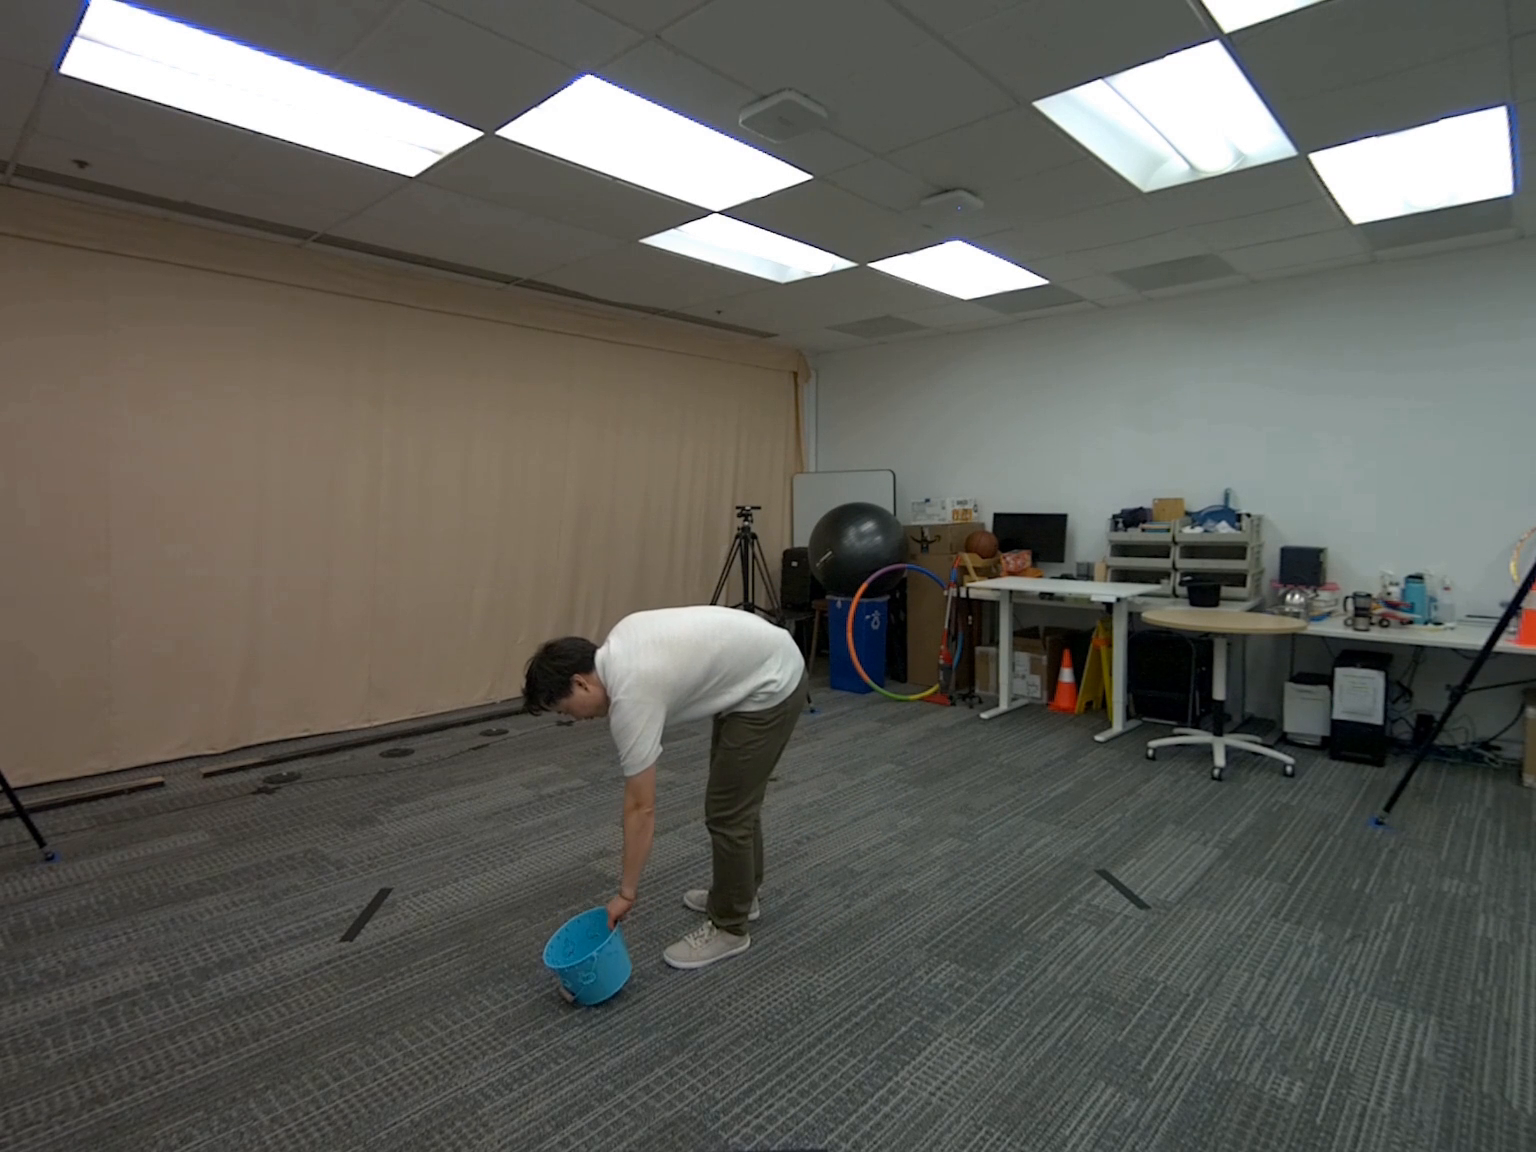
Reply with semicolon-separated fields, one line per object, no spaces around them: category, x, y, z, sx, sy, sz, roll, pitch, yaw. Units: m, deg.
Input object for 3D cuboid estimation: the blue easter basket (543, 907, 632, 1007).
blue easter basket;-0.508;1.095;2.394;0.244;0.154;0.245;-22;12;2
